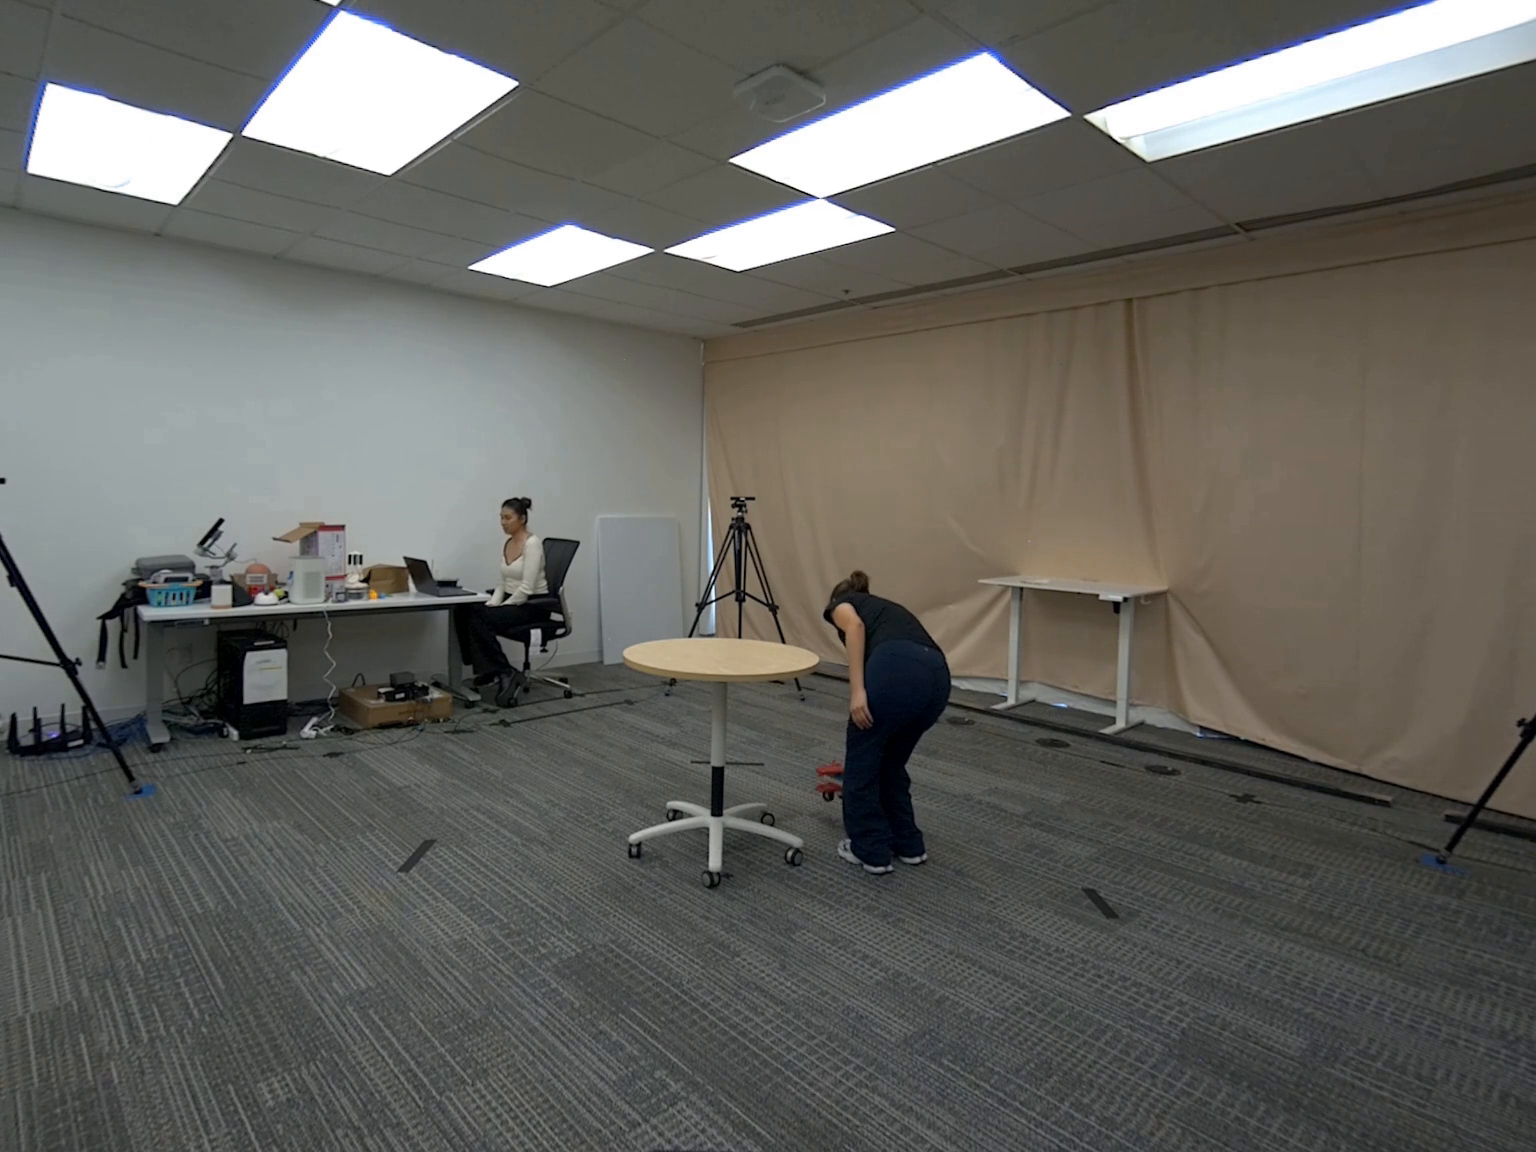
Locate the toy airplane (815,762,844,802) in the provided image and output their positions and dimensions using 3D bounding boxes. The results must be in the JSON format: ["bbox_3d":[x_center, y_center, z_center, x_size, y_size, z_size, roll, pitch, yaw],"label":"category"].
[{"bbox_3d":[0.351,0.882,3.626,0.263,0.158,0.245,-10,-12,28],"label":"toy airplane"}]
